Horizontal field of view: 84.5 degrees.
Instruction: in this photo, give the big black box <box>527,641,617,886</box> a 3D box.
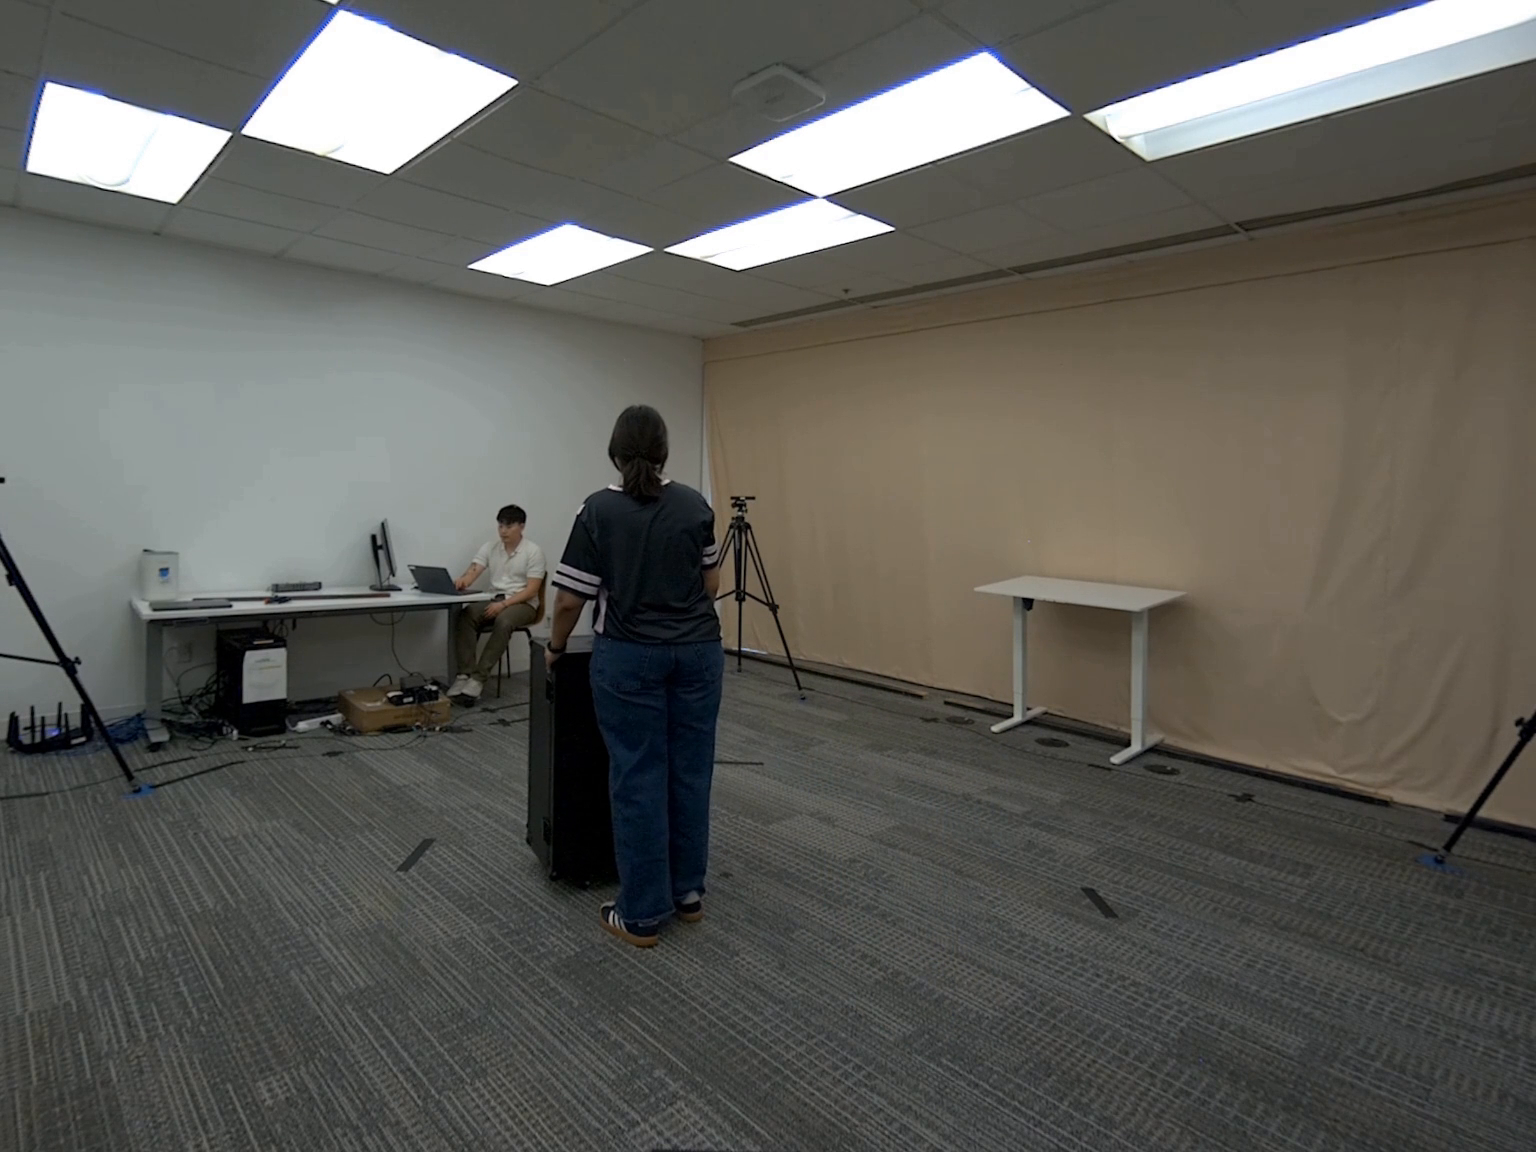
[{"bbox_3d":[-0.625,0.671,3.122,0.513,0.867,0.393,0,3,-27],"label":"big black box"}]
